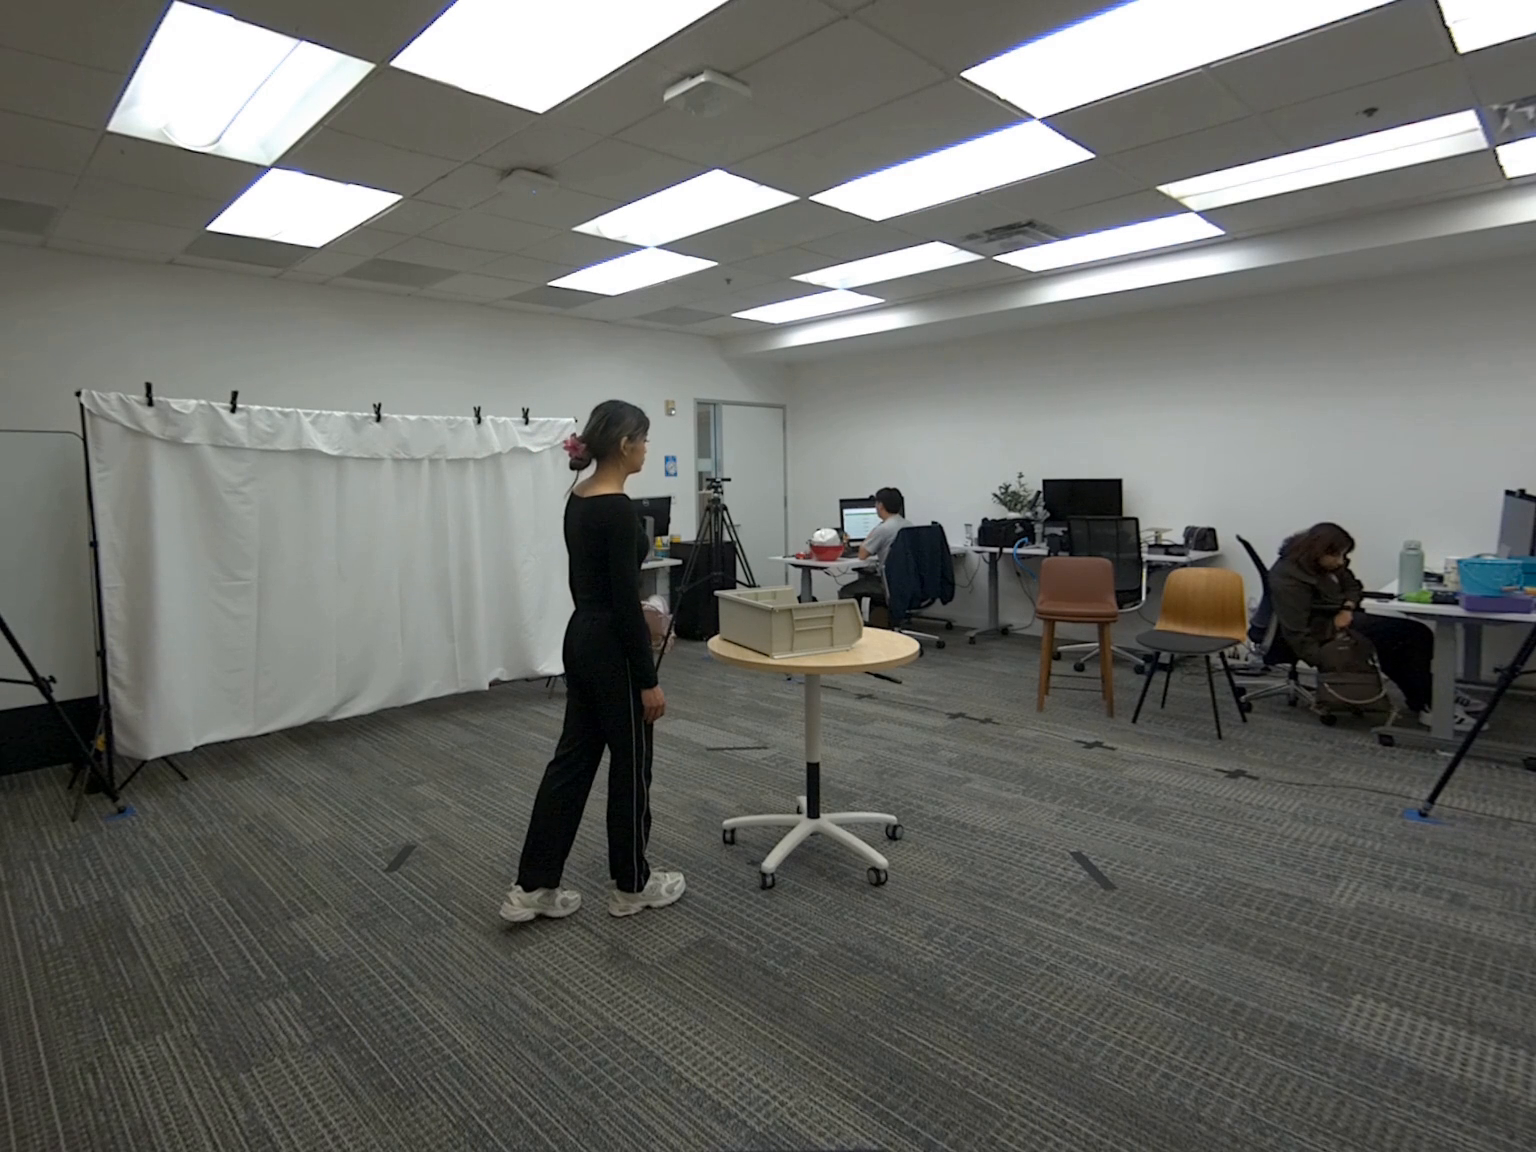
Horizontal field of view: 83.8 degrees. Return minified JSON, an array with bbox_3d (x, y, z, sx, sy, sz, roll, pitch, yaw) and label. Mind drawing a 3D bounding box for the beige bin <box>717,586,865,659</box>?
[{"bbox_3d":[0.068,0.156,3.094,0.369,0.188,0.434,-6,8,-28],"label":"beige bin"}]
